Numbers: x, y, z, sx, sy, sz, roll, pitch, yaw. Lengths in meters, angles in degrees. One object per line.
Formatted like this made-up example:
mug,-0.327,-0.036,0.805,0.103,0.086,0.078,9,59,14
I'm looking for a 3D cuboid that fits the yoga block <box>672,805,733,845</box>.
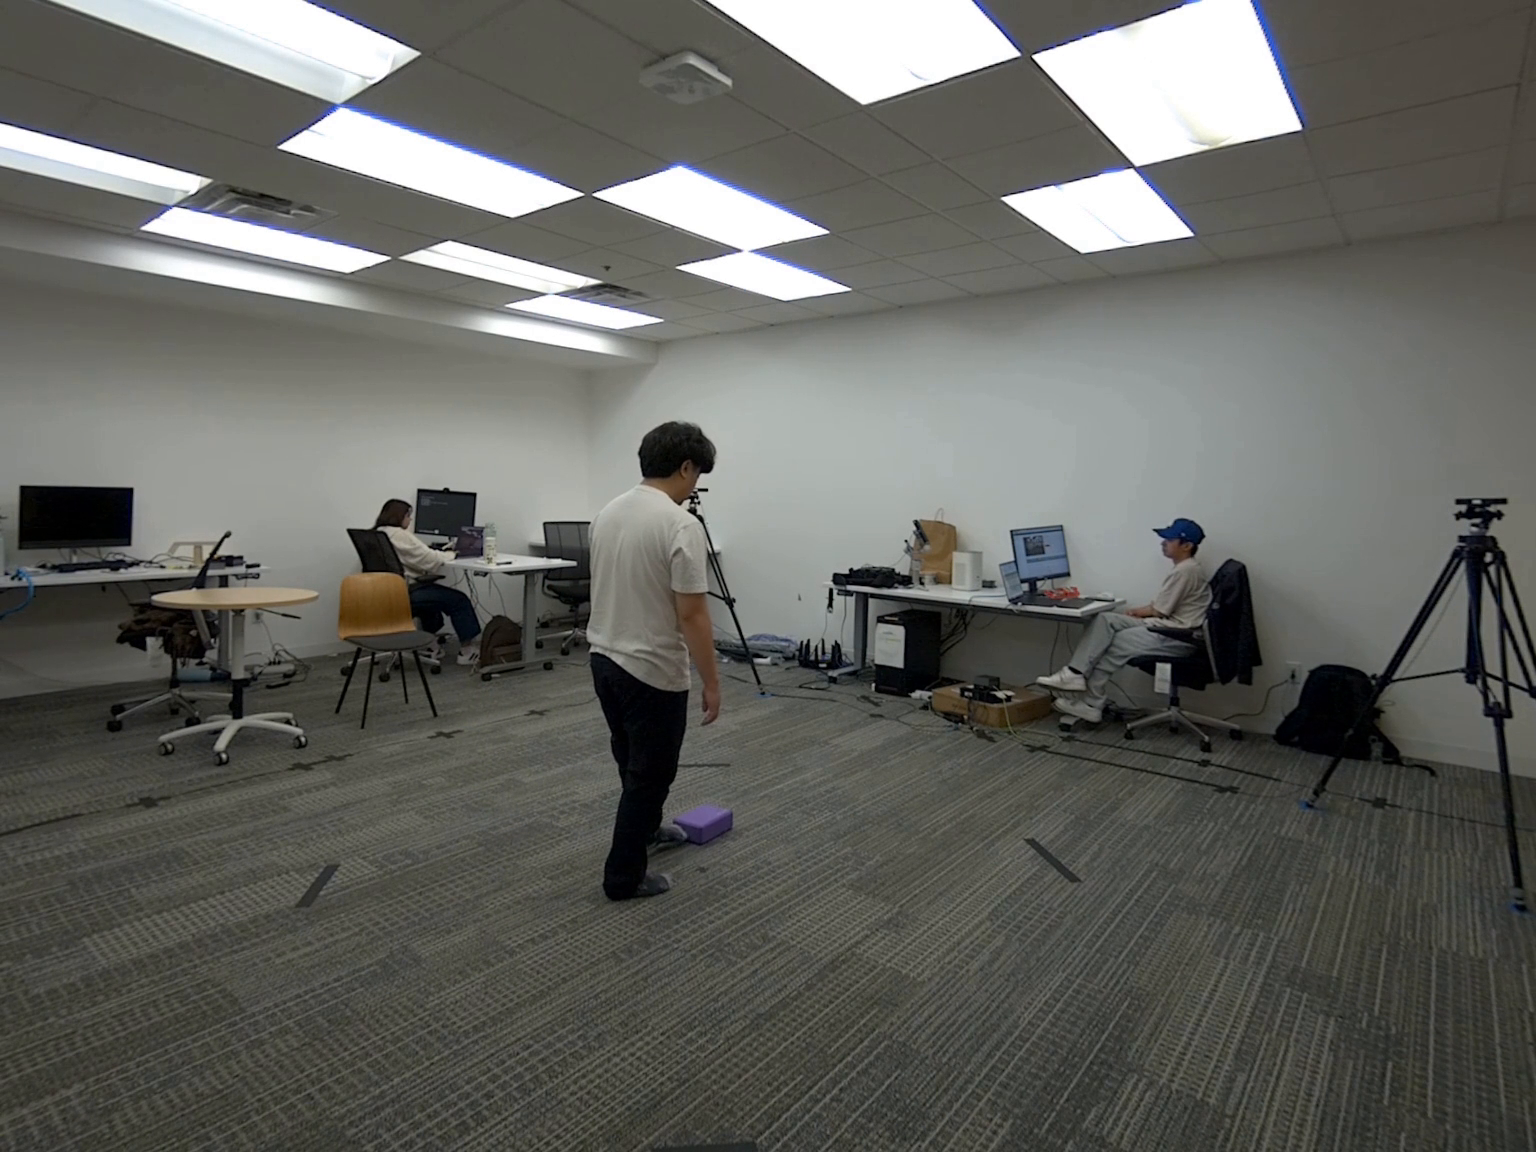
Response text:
yoga block,-0.273,0.995,3.441,0.153,0.076,0.223,3,5,33
